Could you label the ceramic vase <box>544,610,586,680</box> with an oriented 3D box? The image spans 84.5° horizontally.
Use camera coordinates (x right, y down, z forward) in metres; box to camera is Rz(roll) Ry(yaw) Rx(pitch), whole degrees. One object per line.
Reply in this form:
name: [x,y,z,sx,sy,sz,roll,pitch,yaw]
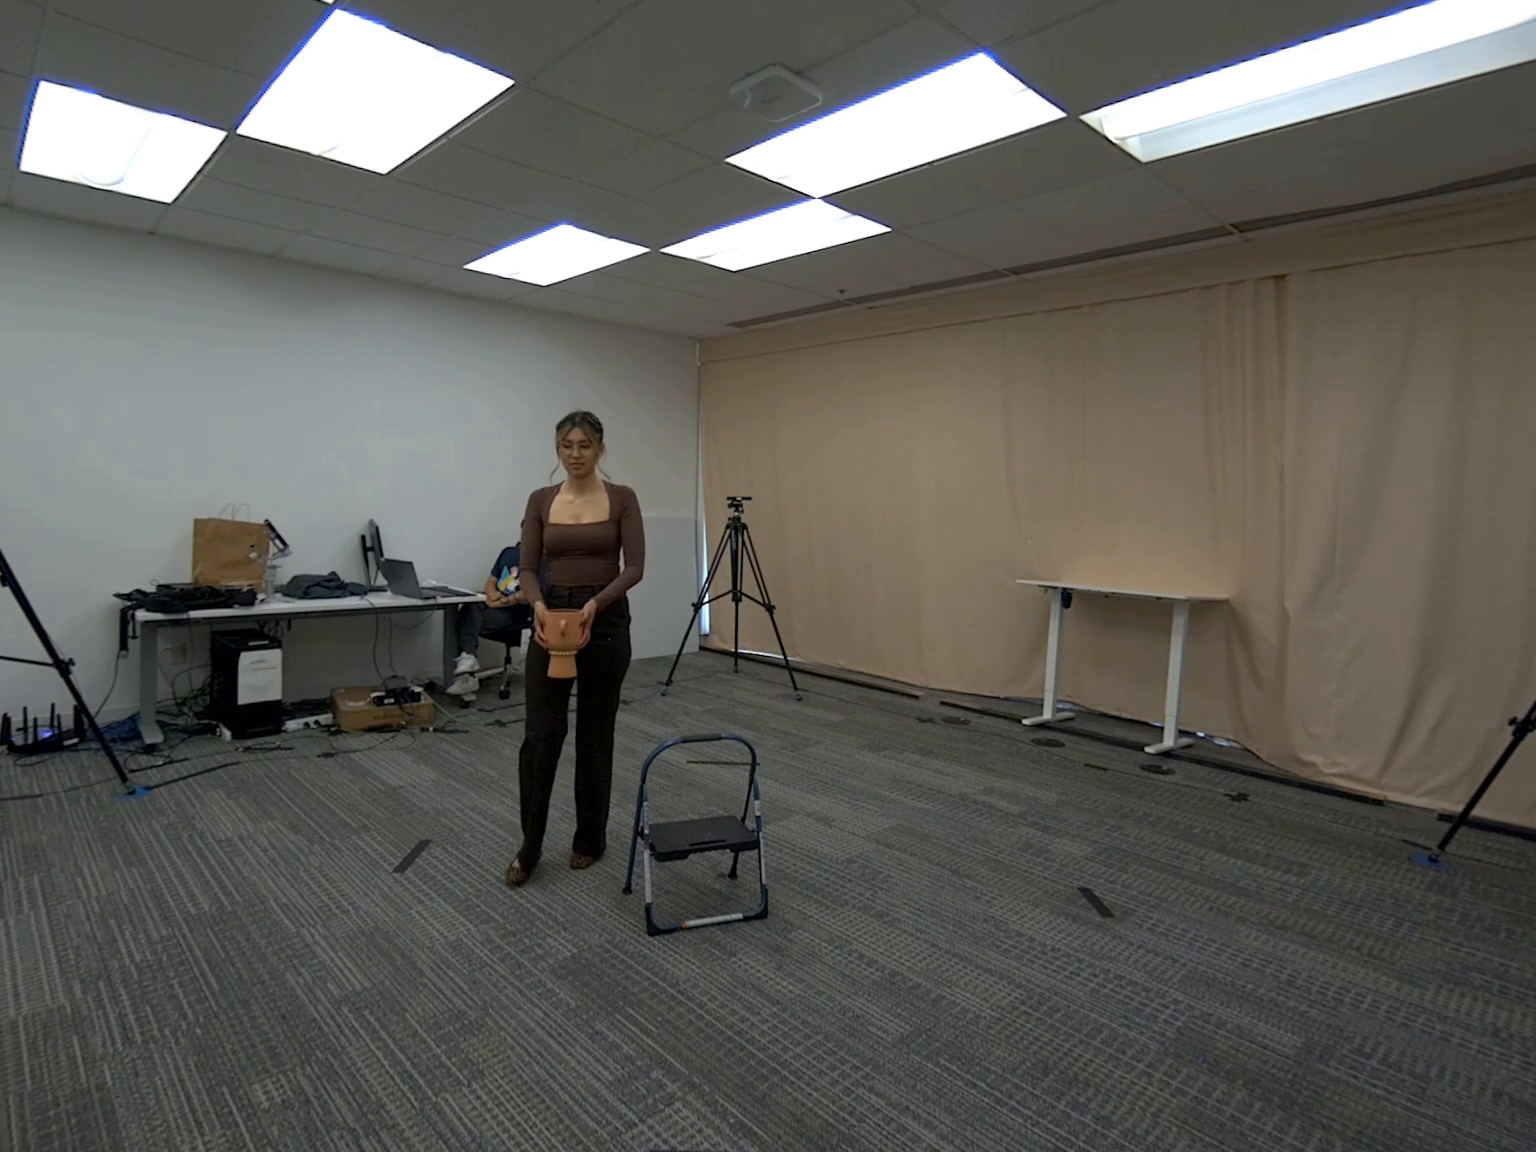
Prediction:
ceramic vase: [-0.722,0.232,2.851,0.137,0.219,0.156,3,3,26]
